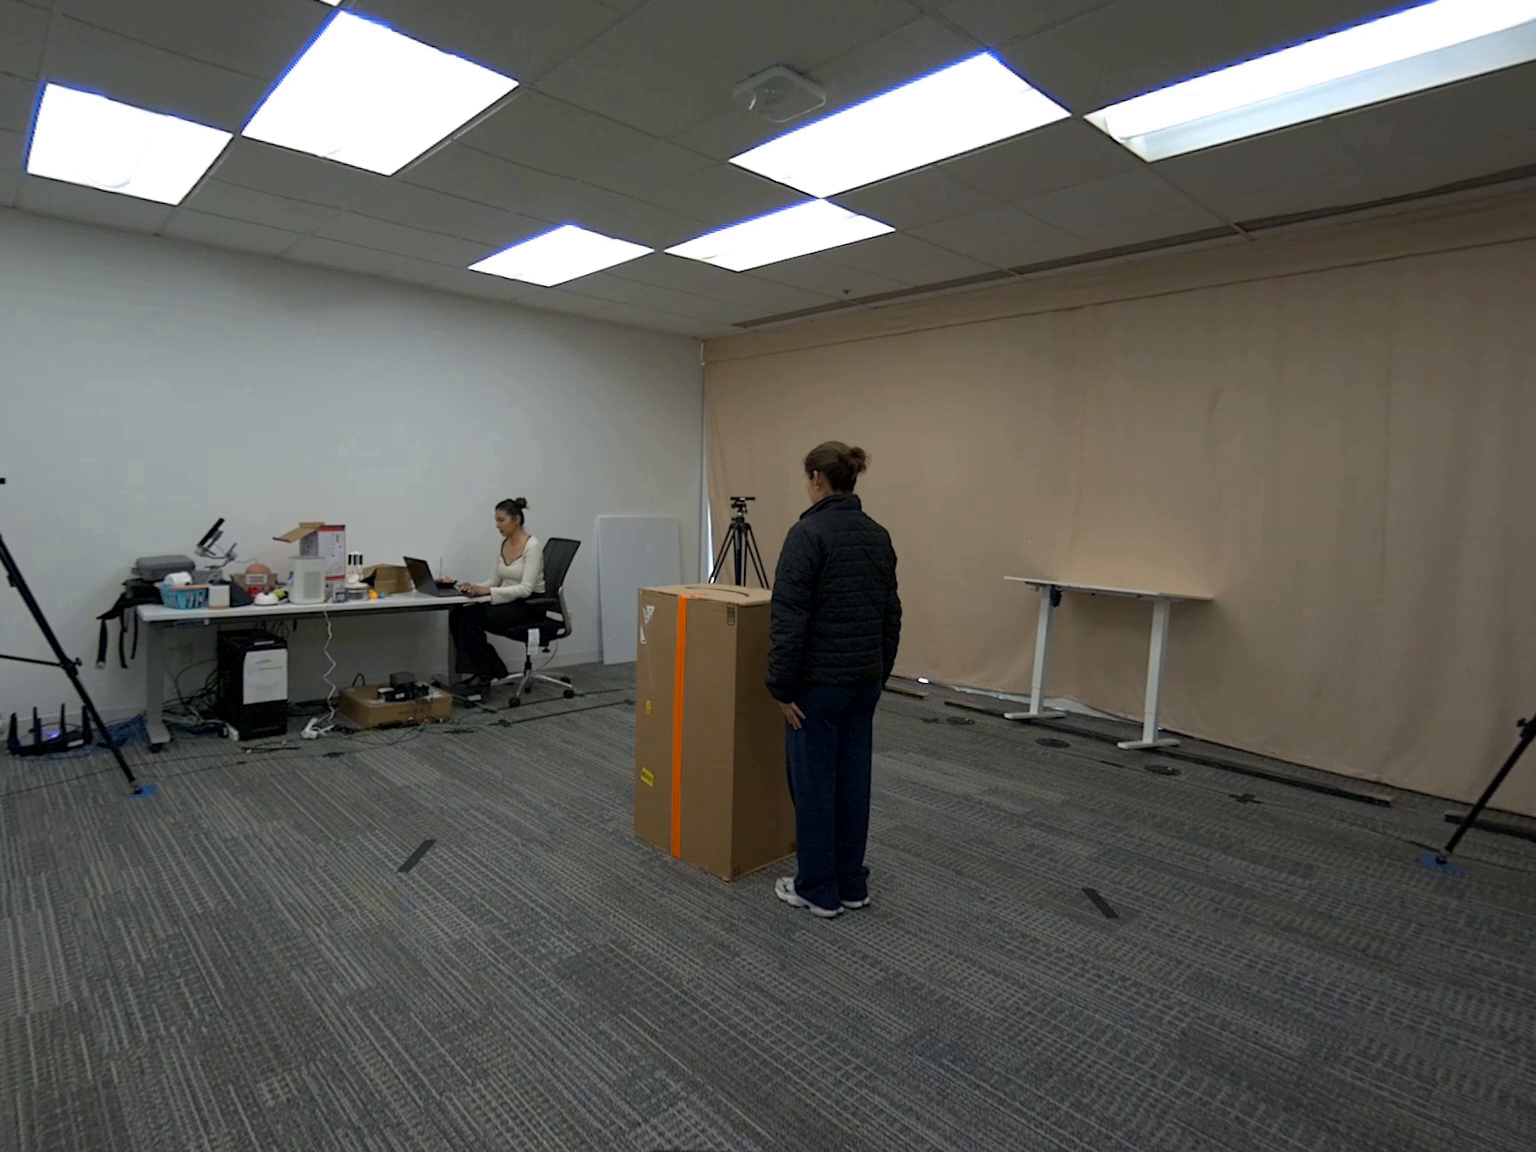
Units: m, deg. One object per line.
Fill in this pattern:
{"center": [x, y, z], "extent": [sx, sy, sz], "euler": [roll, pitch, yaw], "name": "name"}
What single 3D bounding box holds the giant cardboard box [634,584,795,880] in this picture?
{"center": [-0.197, 0.575, 3.361], "extent": [0.416, 1.023, 0.592], "euler": [-2, 5, -45], "name": "giant cardboard box"}
